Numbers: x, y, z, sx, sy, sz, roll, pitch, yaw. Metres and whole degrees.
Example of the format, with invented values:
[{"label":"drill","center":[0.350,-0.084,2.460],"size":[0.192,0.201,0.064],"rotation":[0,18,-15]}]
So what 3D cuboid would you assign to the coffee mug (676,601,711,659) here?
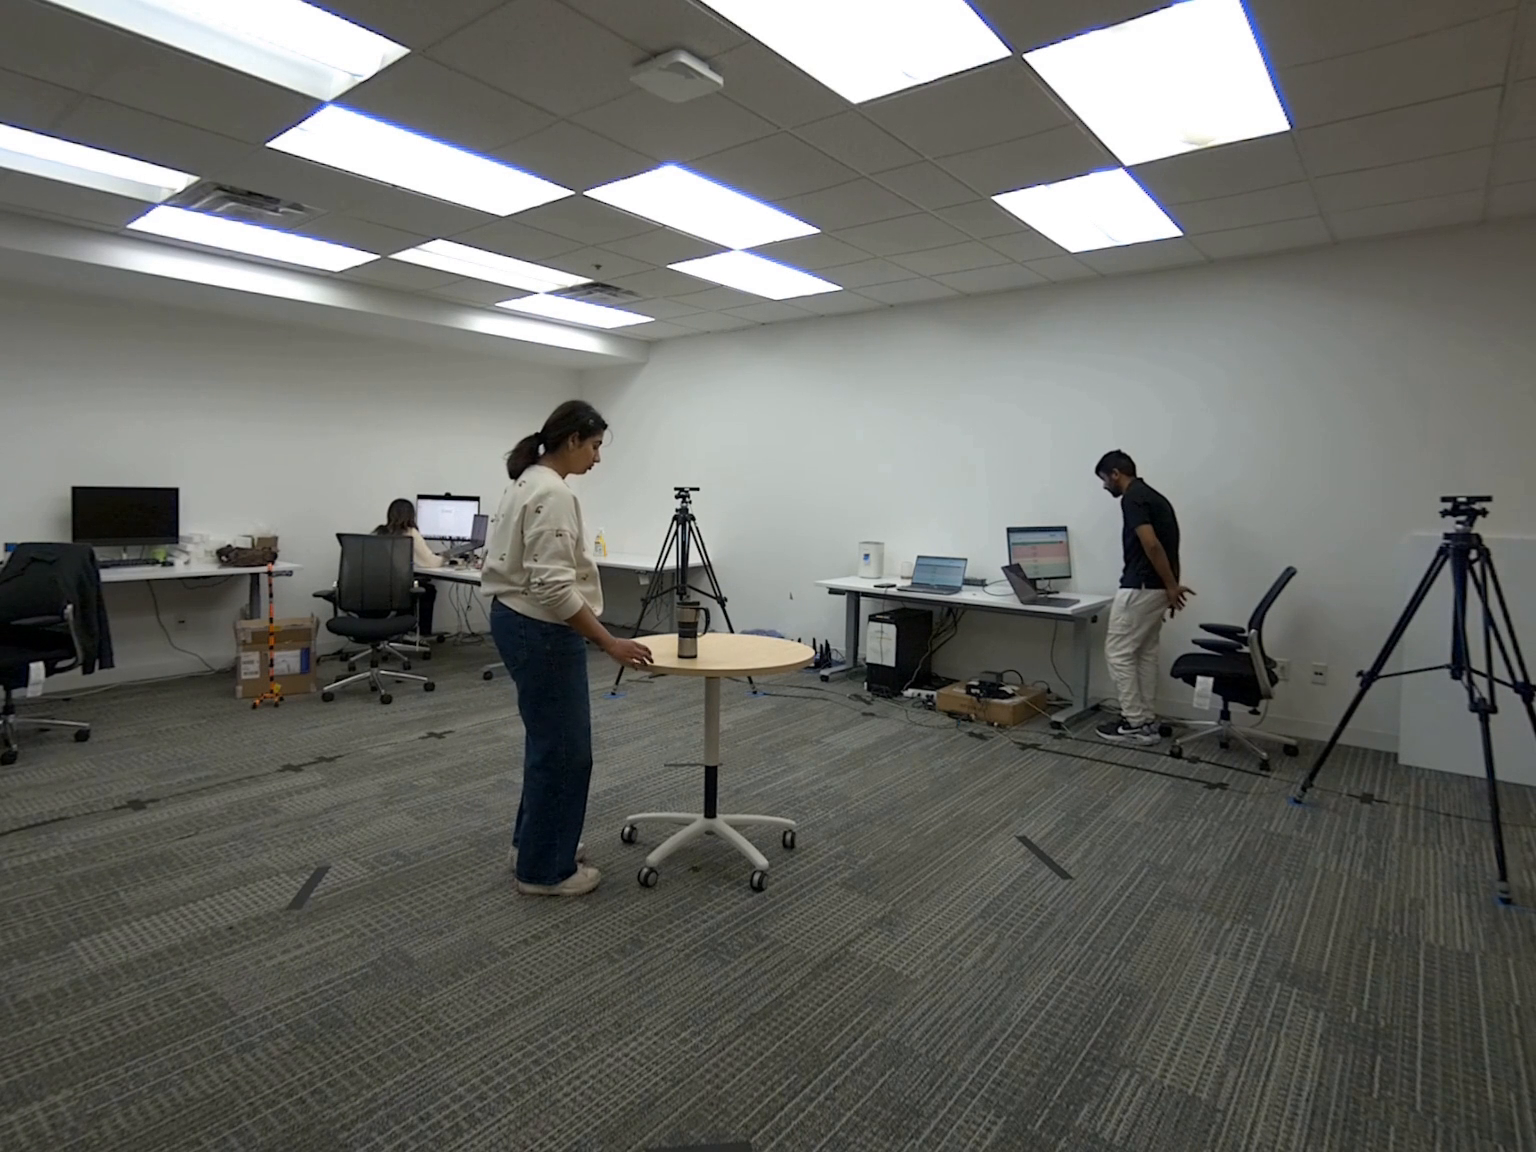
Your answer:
[{"label":"coffee mug","center":[-0.286,0.192,3.012],"size":[0.085,0.203,0.126],"rotation":[2,-1,-38]}]
